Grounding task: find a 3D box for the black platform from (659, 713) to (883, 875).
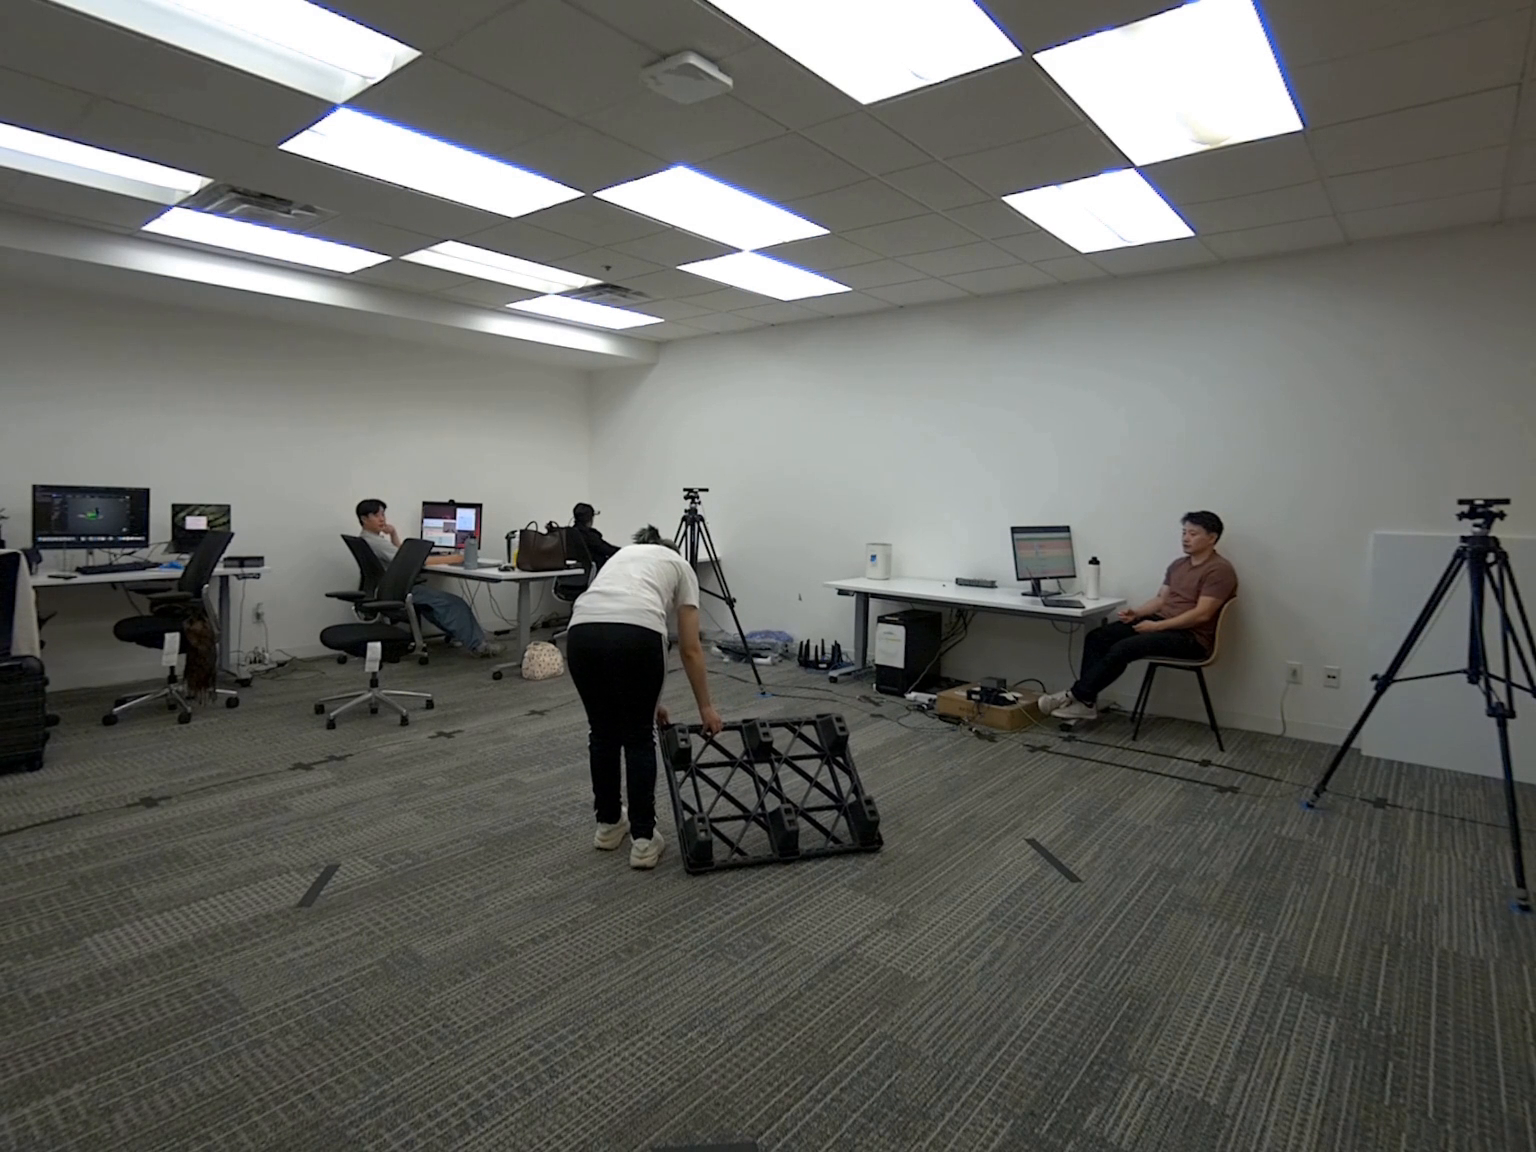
[{"bbox_3d":[0.009,0.804,3.332,0.789,0.141,0.628,-1,48,-20],"label":"black platform"}]
